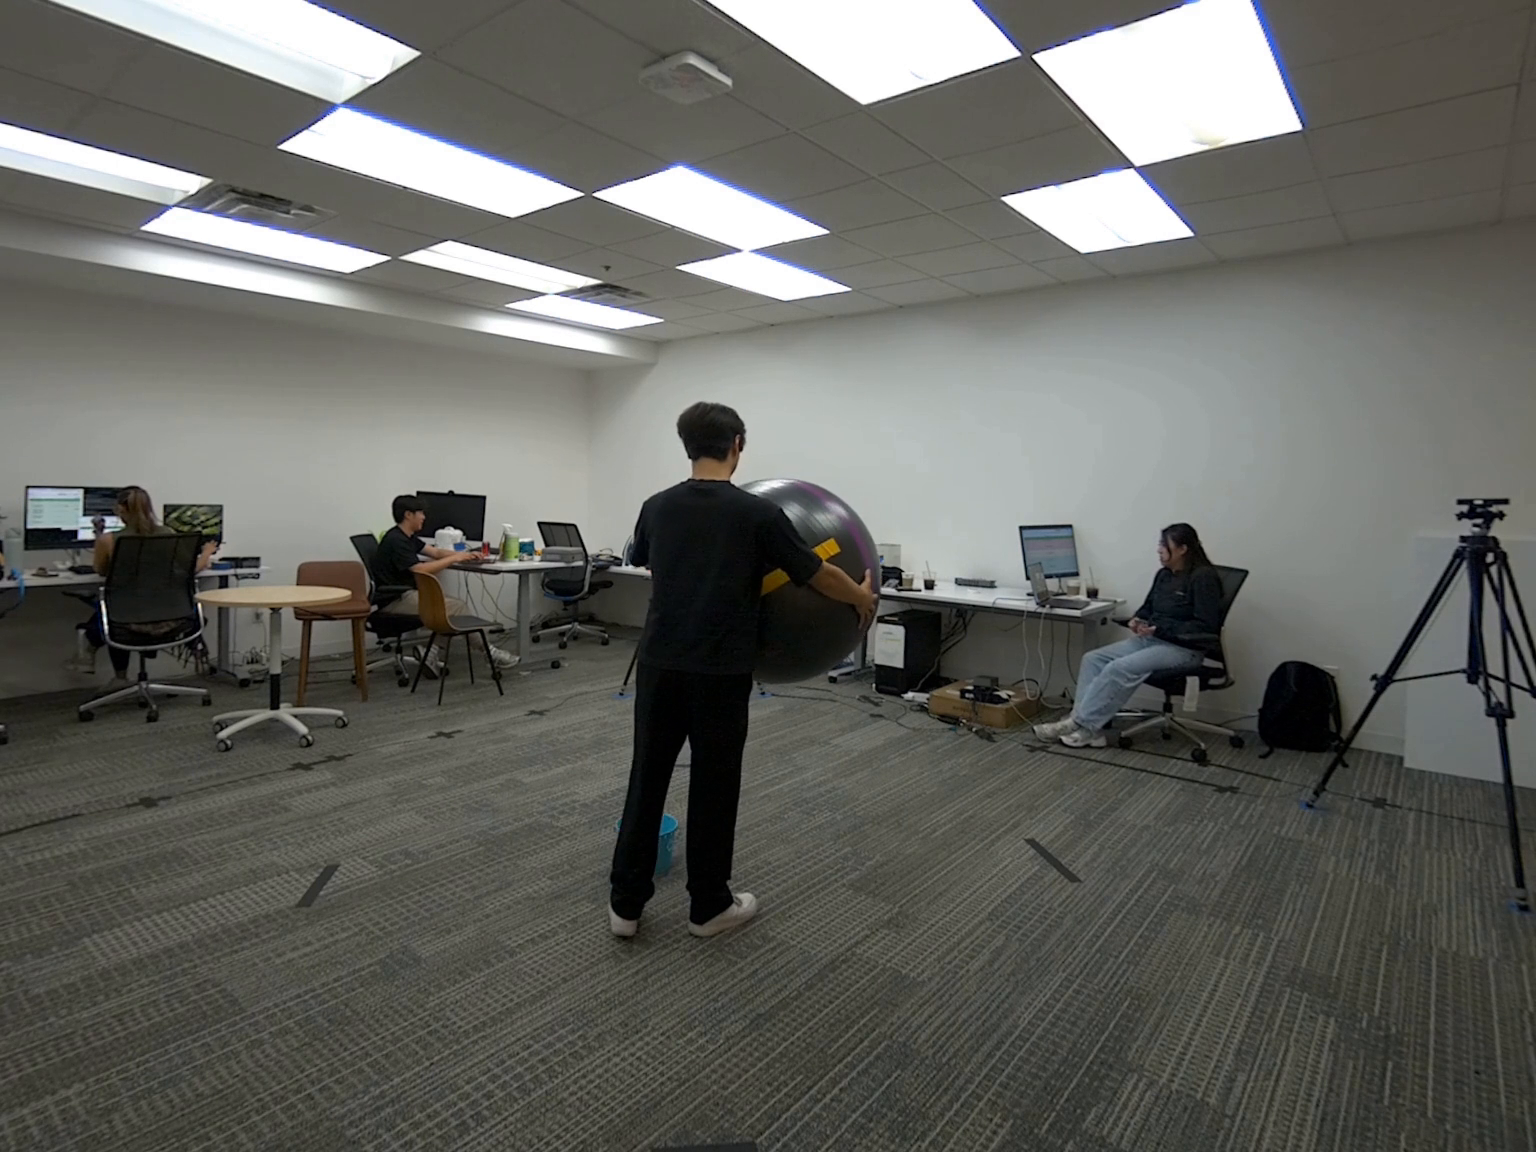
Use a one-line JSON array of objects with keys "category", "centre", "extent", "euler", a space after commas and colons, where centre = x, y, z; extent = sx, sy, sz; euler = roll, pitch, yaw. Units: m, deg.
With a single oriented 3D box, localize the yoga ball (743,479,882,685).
[{"category": "yoga ball", "centre": [0.031, 0.022, 3.153], "extent": [0.757, 0.756, 0.761], "euler": [1, 4, -2]}]
